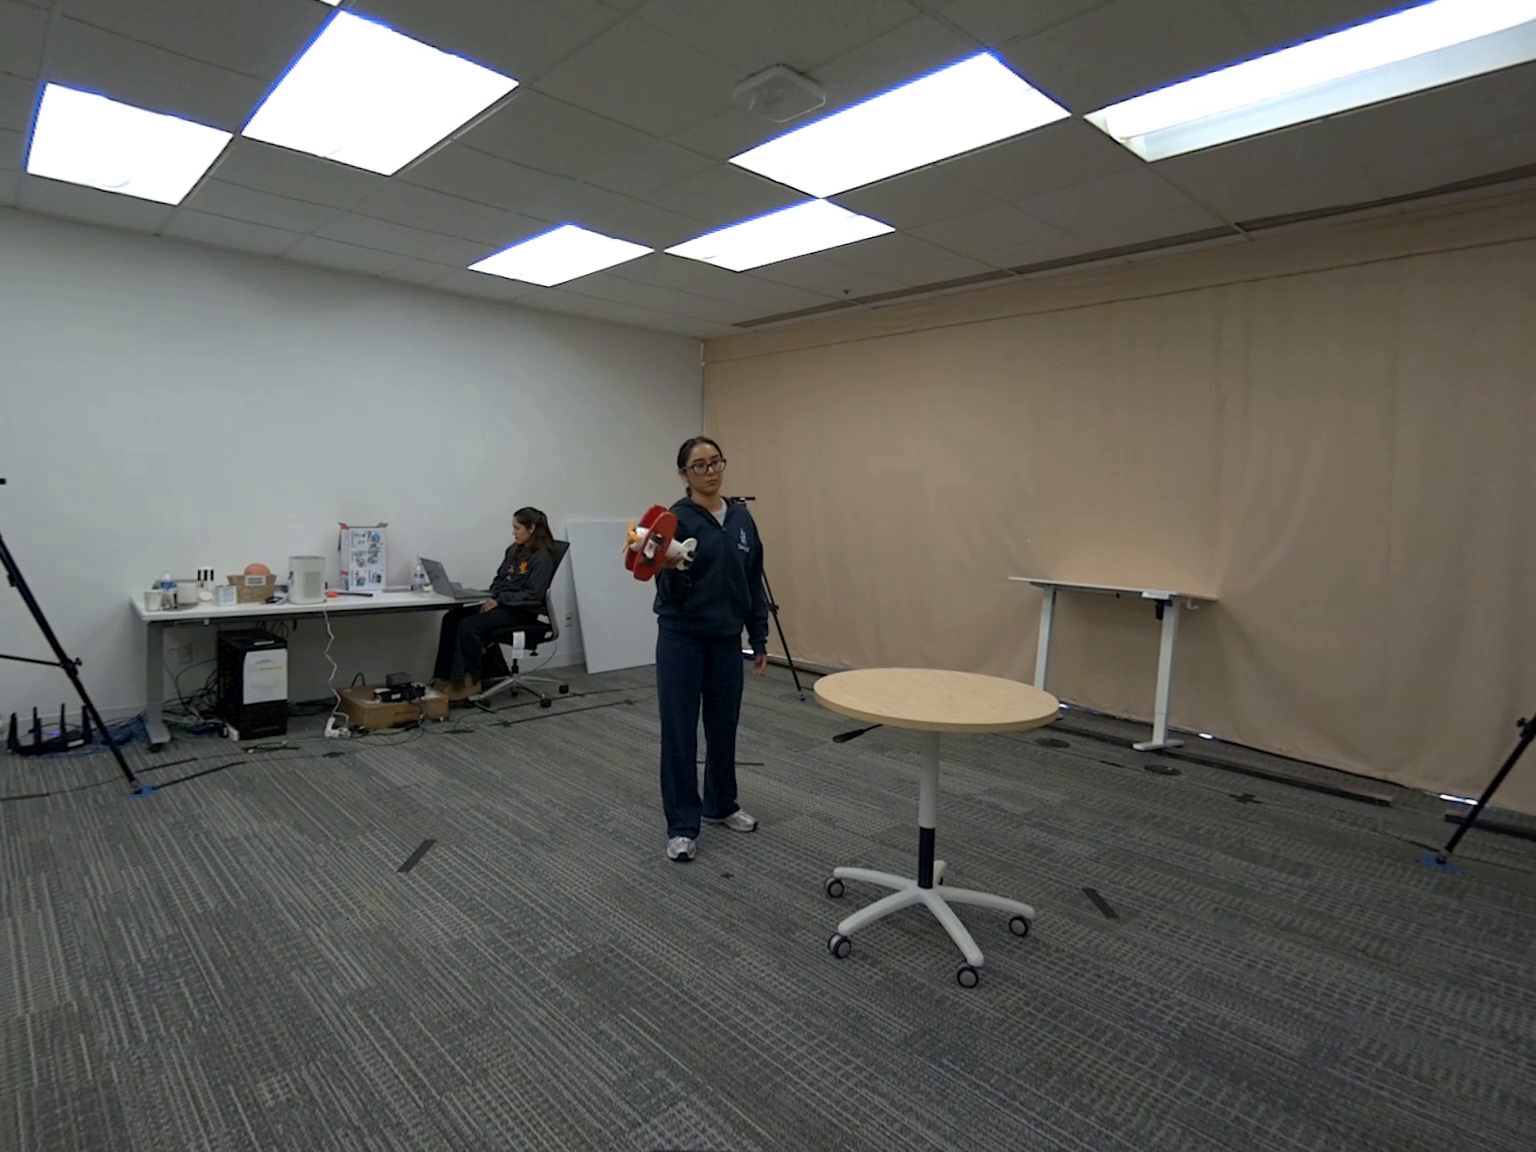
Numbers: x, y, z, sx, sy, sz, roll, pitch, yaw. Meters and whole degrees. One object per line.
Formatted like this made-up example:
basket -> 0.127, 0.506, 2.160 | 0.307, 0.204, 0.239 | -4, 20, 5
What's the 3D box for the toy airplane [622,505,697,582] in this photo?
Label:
toy airplane -> -0.384, -0.083, 2.920 | 0.161, 0.251, 0.251 | 33, -15, 37
